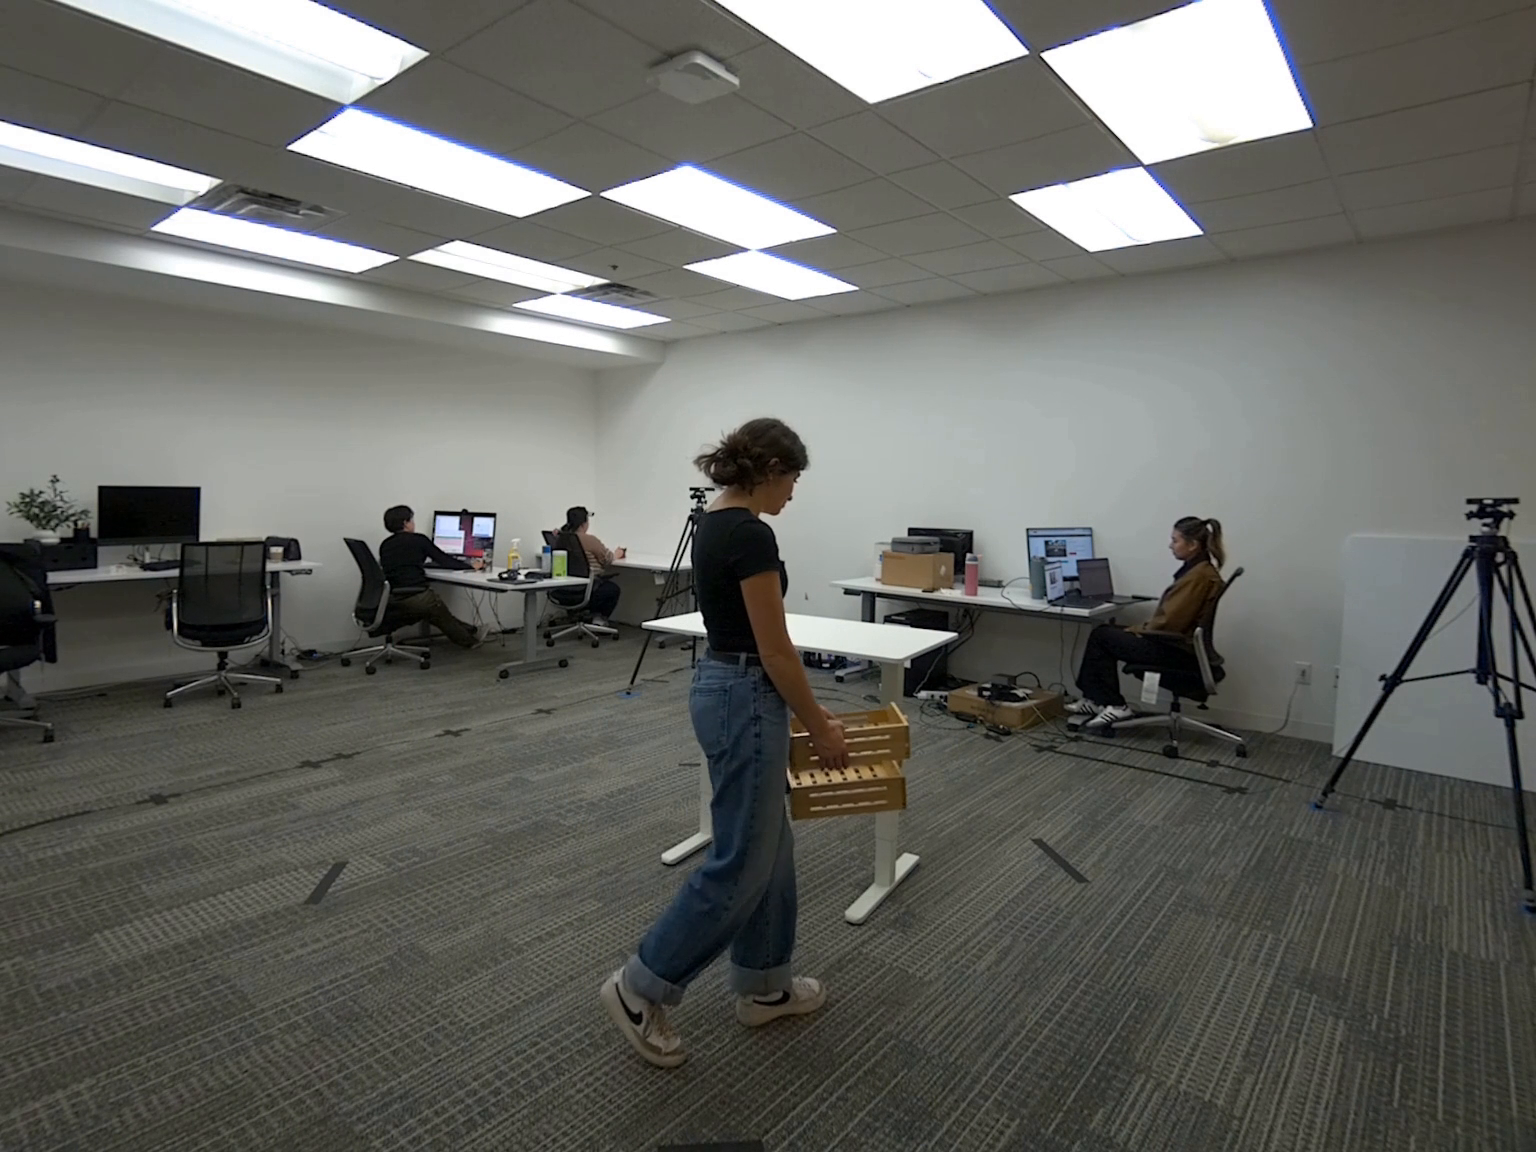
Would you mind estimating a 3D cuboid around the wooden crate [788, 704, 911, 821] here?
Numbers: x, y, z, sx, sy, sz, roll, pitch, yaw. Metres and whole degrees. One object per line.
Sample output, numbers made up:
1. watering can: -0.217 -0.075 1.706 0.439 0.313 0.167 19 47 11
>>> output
1. wooden crate: 0.191 0.472 2.289 0.323 0.269 0.307 -6 14 -4
